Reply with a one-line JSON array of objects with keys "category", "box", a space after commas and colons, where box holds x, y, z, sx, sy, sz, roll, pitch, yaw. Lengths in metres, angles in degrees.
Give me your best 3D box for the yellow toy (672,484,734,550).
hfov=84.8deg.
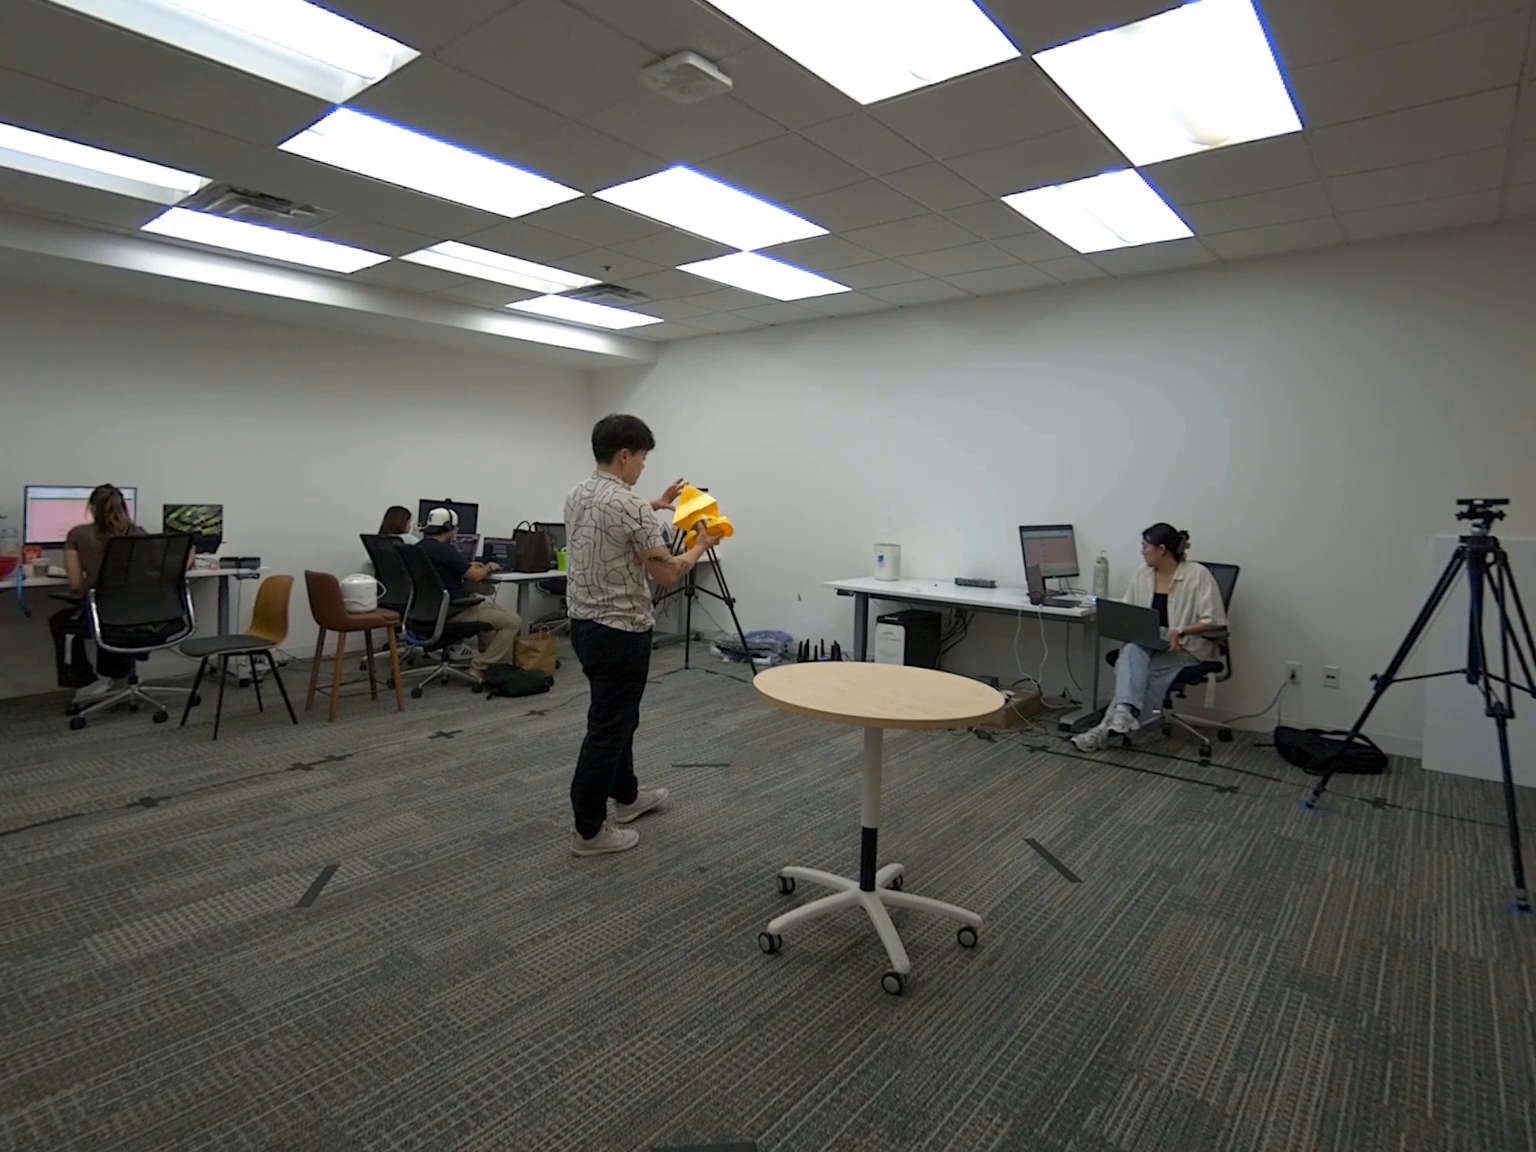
[{"category": "yellow toy", "box": [-0.295, -0.257, 3.476, 0.206, 0.238, 0.186, -28, -27, 10]}]
